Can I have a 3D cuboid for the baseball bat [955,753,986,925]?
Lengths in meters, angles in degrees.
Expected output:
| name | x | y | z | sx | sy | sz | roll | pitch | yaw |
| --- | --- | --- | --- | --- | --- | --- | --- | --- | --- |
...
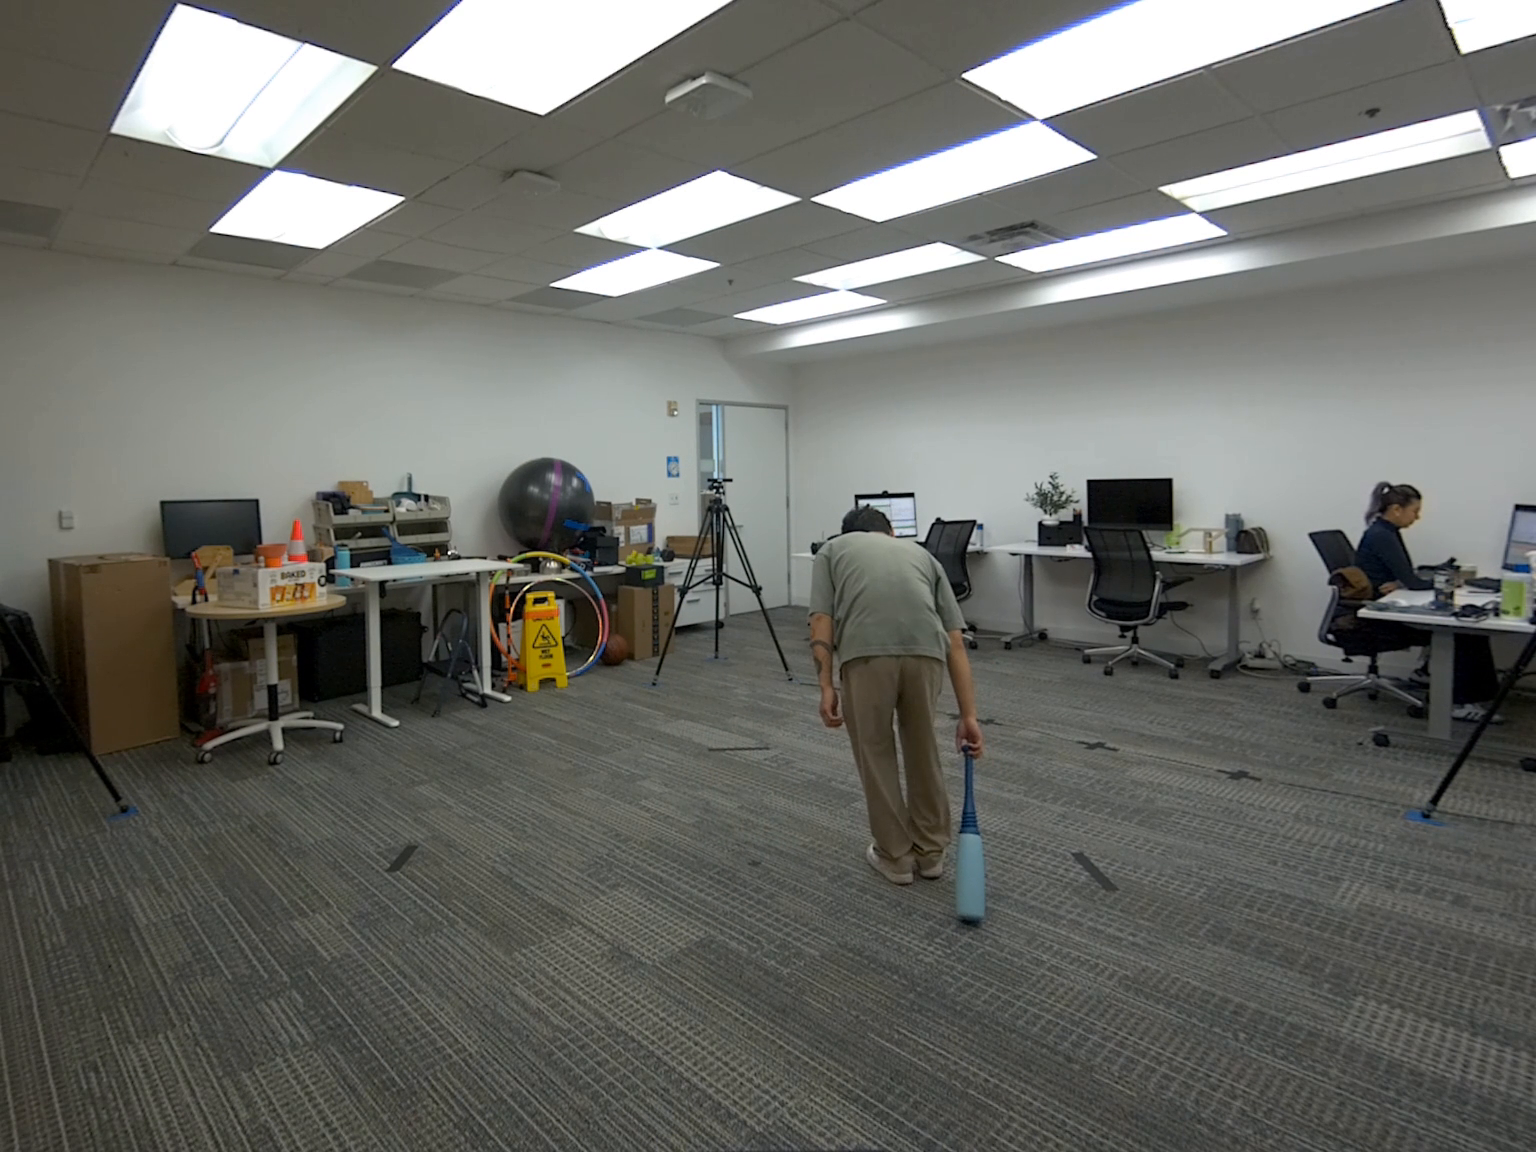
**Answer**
| name | x | y | z | sx | sy | sz | roll | pitch | yaw |
| --- | --- | --- | --- | --- | --- | --- | --- | --- | --- |
| baseball bat | 0.655 | 0.829 | 2.779 | 0.089 | 0.554 | 0.087 | 4 | -26 | 0 |
